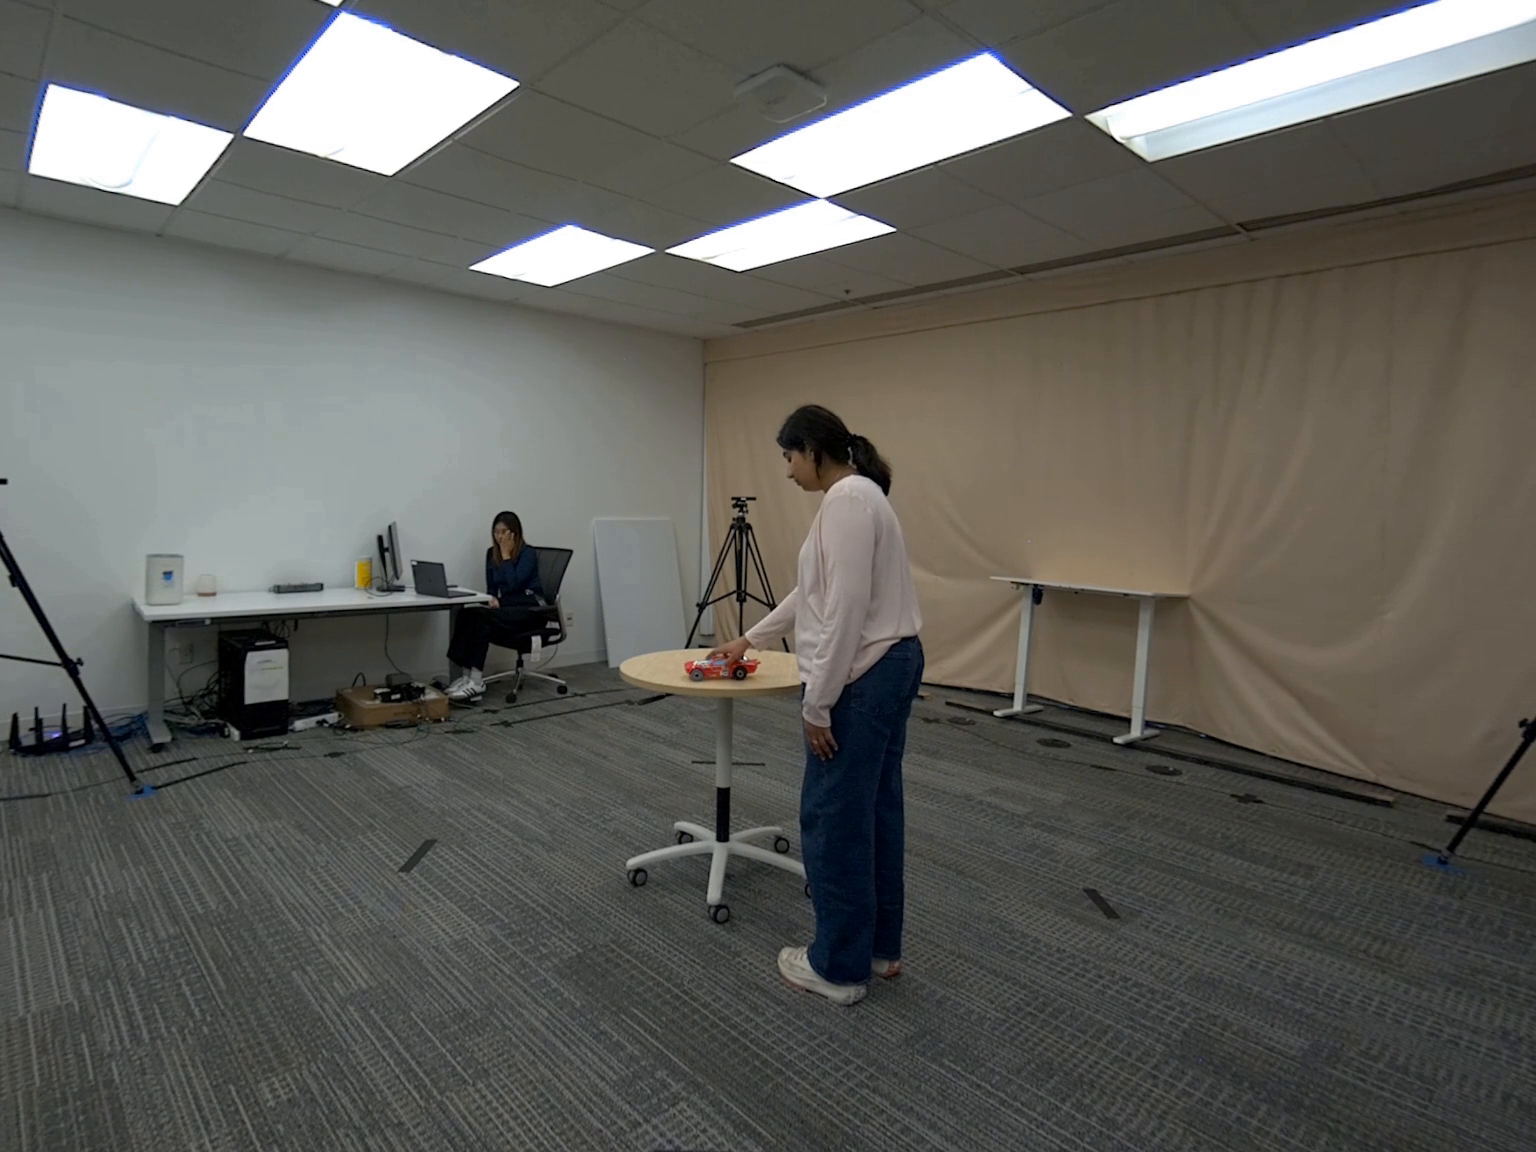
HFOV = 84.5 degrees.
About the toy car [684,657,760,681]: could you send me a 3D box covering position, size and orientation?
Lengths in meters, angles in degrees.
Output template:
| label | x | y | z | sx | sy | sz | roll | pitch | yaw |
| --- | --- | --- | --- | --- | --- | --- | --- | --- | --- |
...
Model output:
| label | x | y | z | sx | sy | sz | roll | pitch | yaw |
| --- | --- | --- | --- | --- | --- | --- | --- | --- | --- |
| toy car | -0.155 | 0.314 | 2.845 | 0.253 | 0.083 | 0.131 | -11 | 5 | -6 |
